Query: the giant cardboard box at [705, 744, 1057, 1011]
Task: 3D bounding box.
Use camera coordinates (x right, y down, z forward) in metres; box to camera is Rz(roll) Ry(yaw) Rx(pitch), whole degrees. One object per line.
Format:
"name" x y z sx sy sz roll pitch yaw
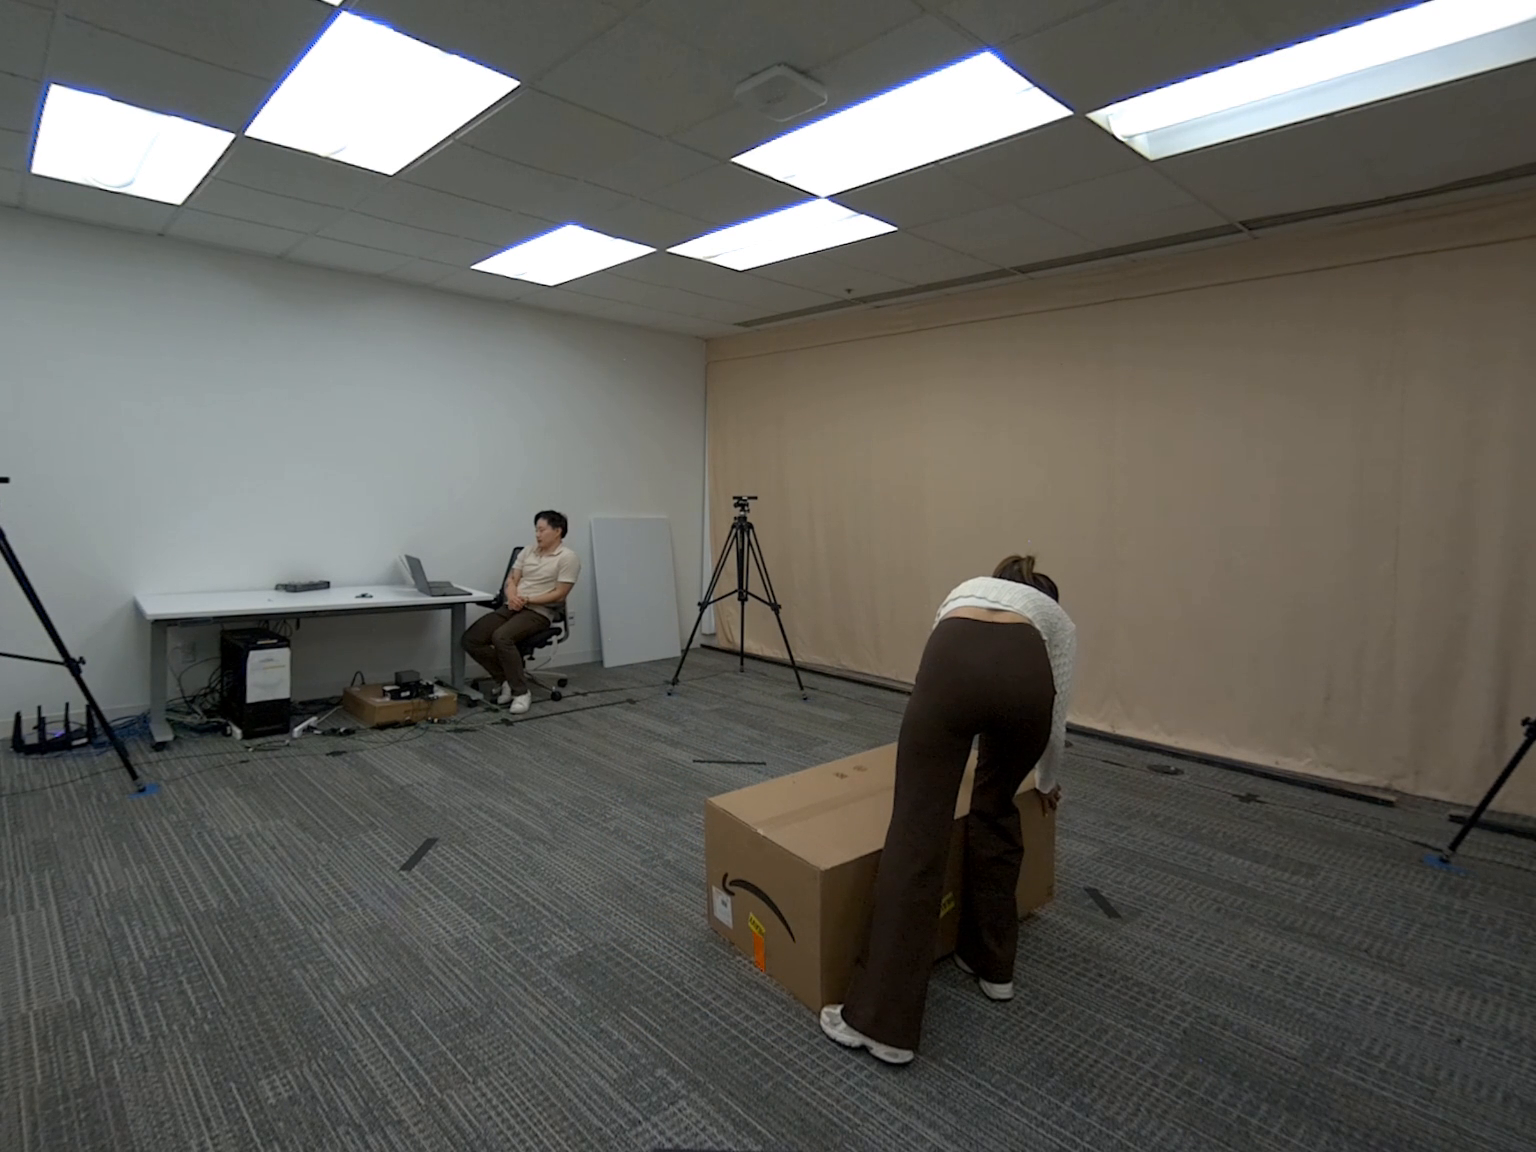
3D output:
"giant cardboard box" 0.372 0.900 2.751 1.006 0.424 0.592 -7 10 -35
